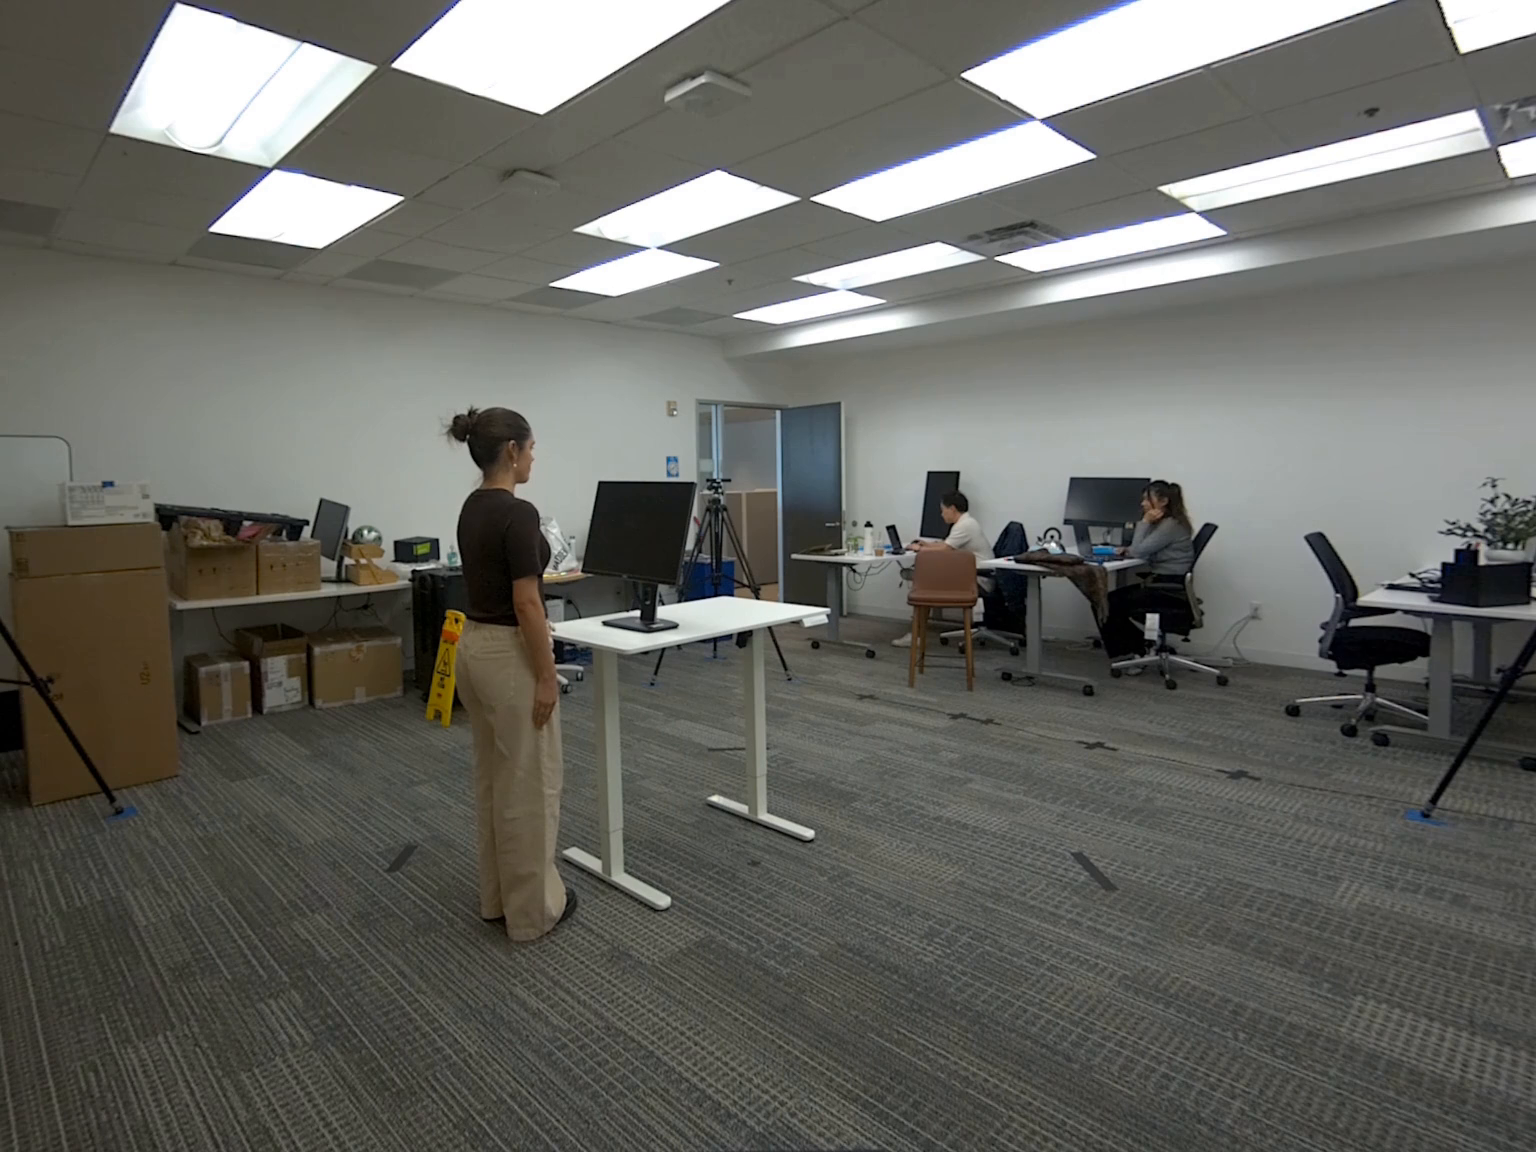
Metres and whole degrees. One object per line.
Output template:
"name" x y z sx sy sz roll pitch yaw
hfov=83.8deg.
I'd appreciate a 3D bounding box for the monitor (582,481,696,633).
"monitor" -0.446 -0.073 3.032 0.556 0.521 0.182 5 4 42
